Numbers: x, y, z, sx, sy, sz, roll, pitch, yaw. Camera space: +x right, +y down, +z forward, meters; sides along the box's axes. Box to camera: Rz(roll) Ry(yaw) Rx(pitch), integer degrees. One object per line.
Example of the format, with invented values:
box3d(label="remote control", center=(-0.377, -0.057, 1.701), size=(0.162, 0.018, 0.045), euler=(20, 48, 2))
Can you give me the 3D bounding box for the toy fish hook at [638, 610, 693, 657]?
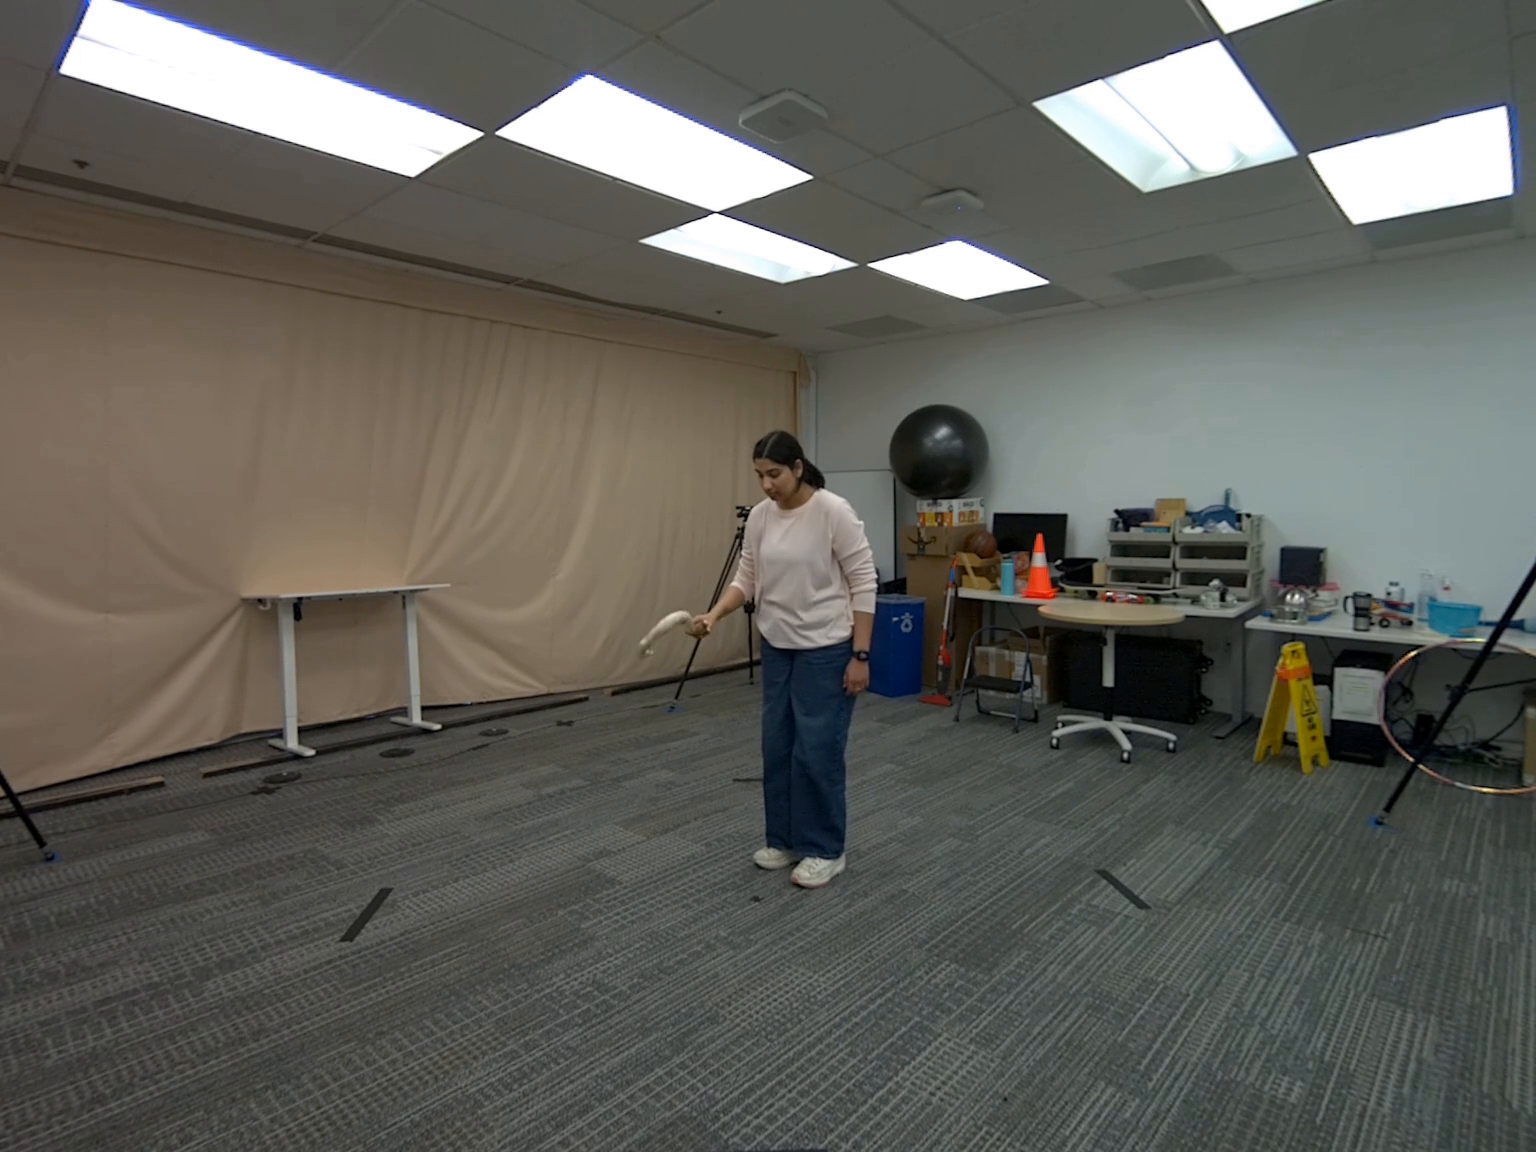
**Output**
box3d(label="toy fish hook", center=(-0.319, 0.209, 2.913), size=(0.225, 0.049, 0.496), euler=(-37, -13, 6))
